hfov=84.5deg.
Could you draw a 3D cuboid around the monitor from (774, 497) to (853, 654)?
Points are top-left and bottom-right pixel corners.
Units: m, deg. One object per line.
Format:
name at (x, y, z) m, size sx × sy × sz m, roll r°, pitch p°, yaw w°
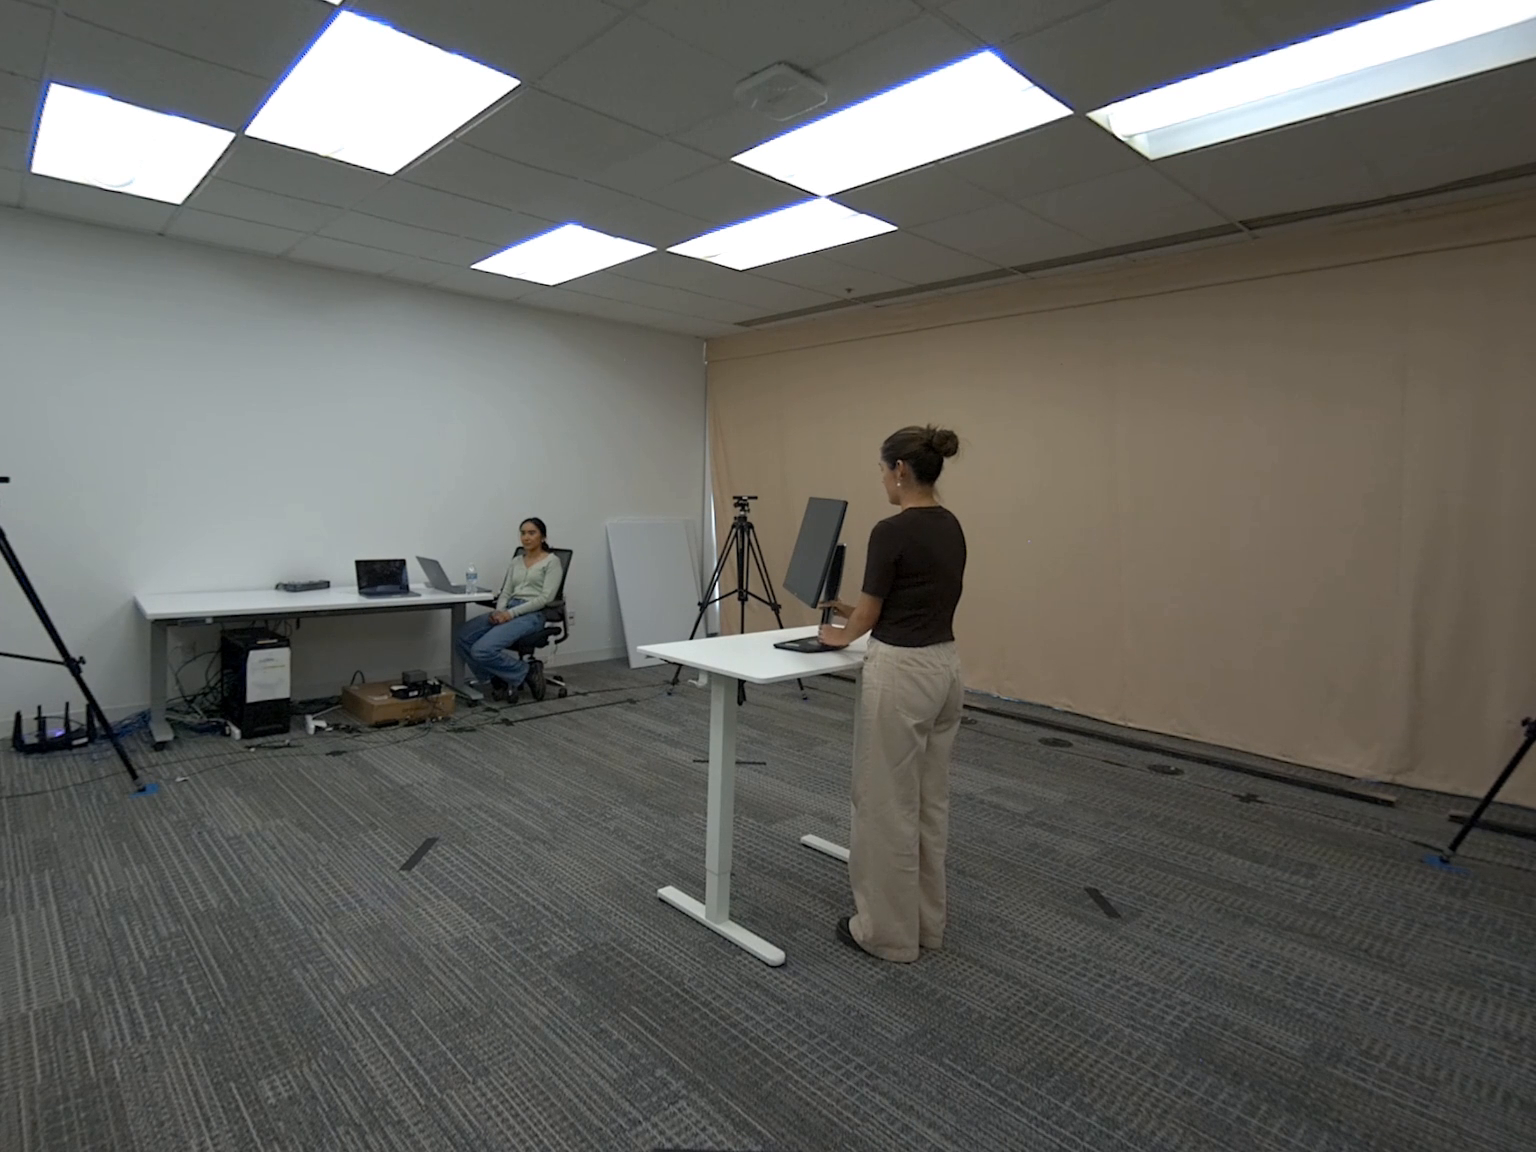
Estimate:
monitor at (0.166, -0.004, 2.889) m, size 0.185 × 0.521 × 0.545 m, roll 6°, pitch 5°, yaw -11°
